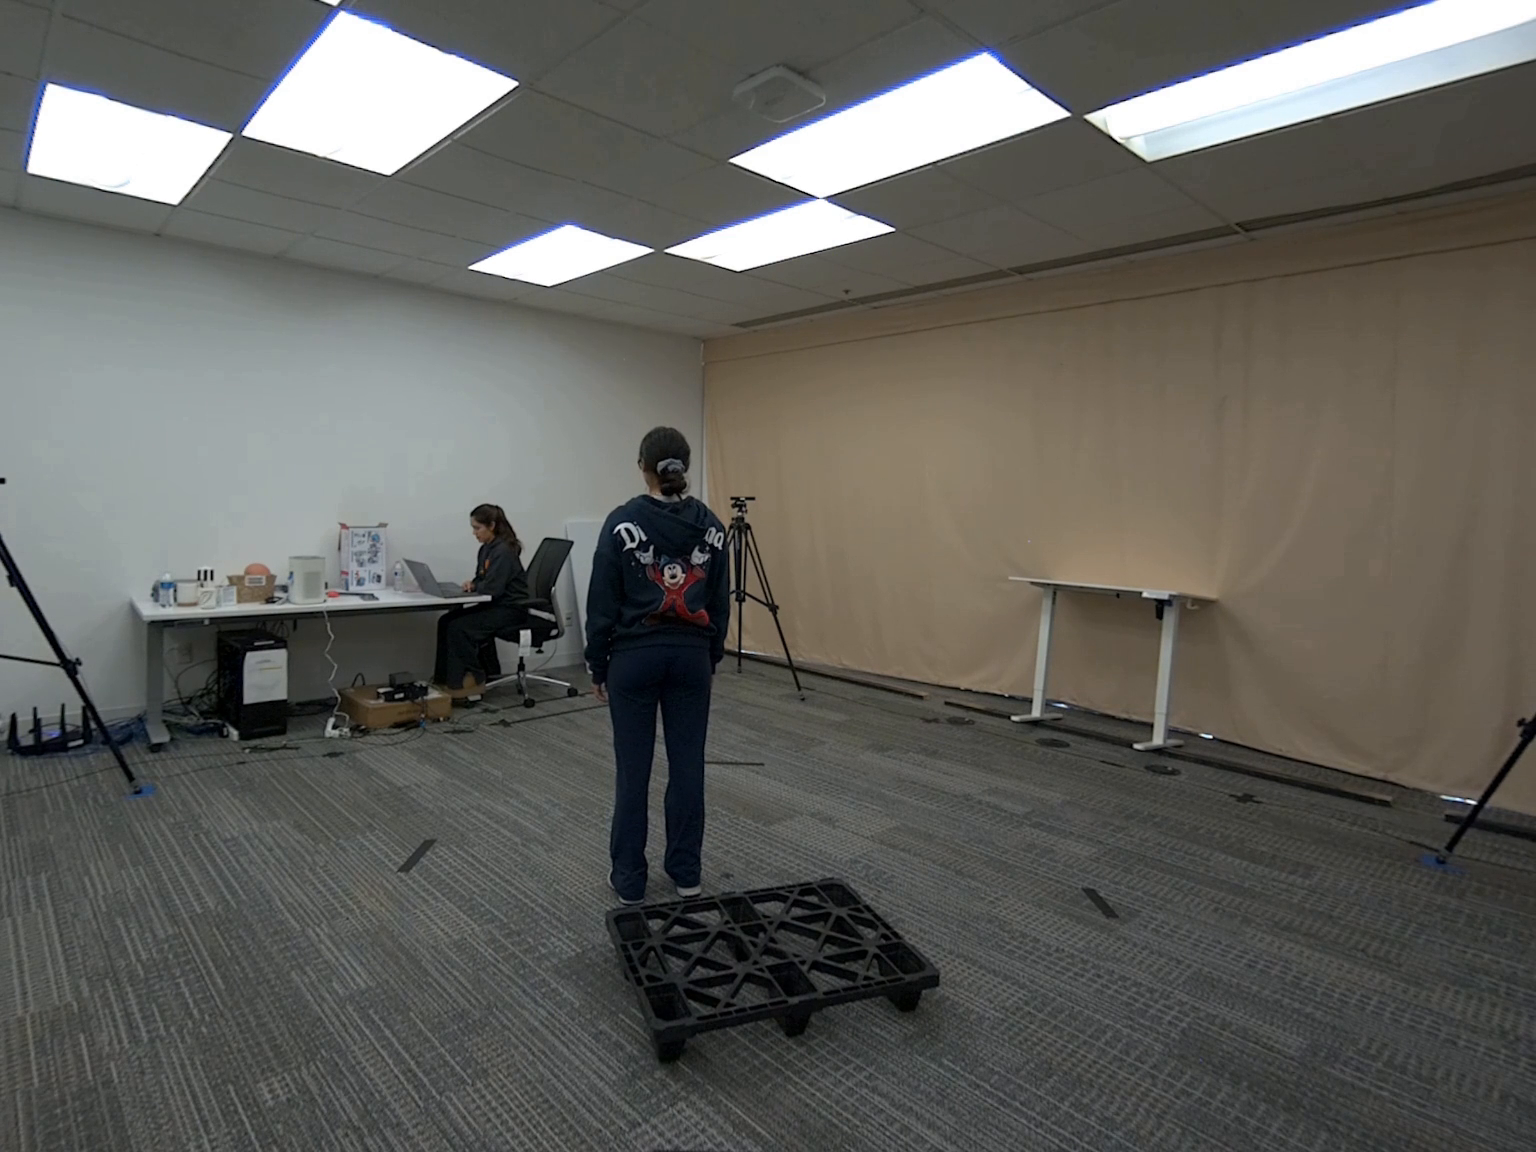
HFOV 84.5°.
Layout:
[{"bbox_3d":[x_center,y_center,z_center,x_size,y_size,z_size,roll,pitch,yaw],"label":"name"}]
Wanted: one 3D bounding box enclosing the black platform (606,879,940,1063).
[{"bbox_3d":[-0.019,1.108,2.407,0.793,0.143,0.616,-1,5,-22],"label":"black platform"}]
